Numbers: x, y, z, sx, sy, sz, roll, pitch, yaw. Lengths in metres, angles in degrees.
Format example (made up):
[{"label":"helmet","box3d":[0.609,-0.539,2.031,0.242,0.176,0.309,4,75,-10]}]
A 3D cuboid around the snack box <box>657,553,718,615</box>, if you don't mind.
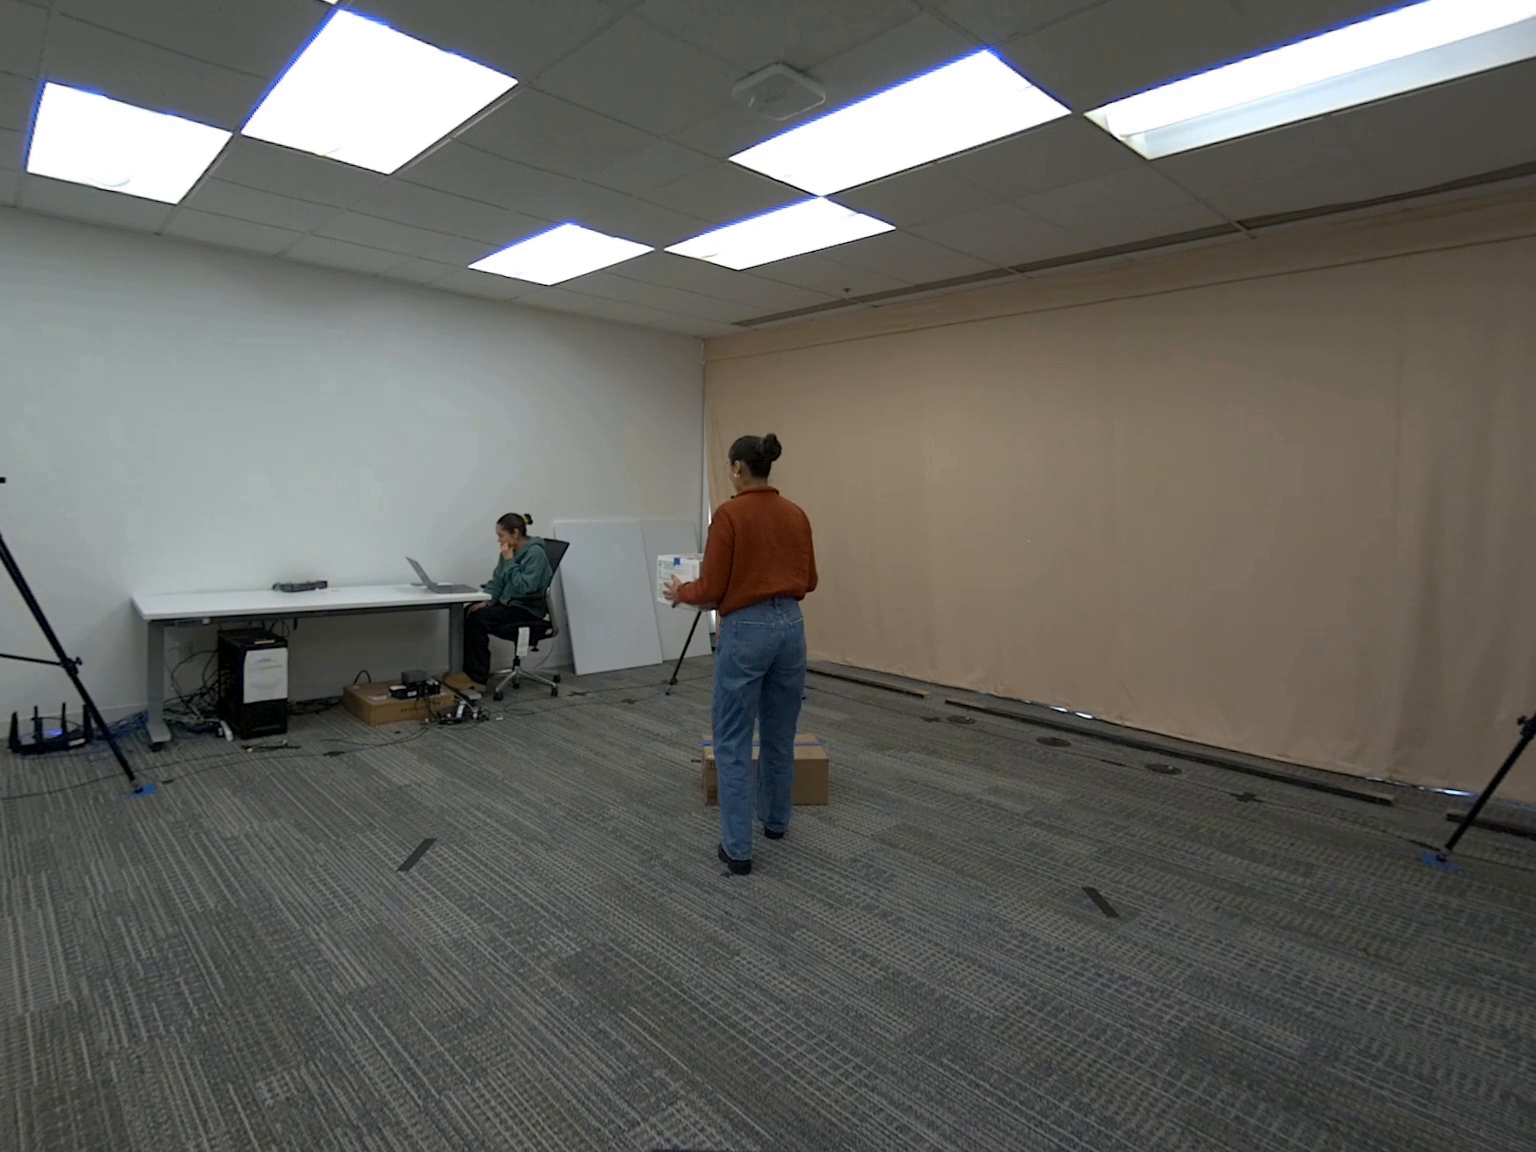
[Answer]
[{"label":"snack box","box3d":[-0.203,0.020,3.525,0.396,0.205,0.348,-3,6,-34]}]
